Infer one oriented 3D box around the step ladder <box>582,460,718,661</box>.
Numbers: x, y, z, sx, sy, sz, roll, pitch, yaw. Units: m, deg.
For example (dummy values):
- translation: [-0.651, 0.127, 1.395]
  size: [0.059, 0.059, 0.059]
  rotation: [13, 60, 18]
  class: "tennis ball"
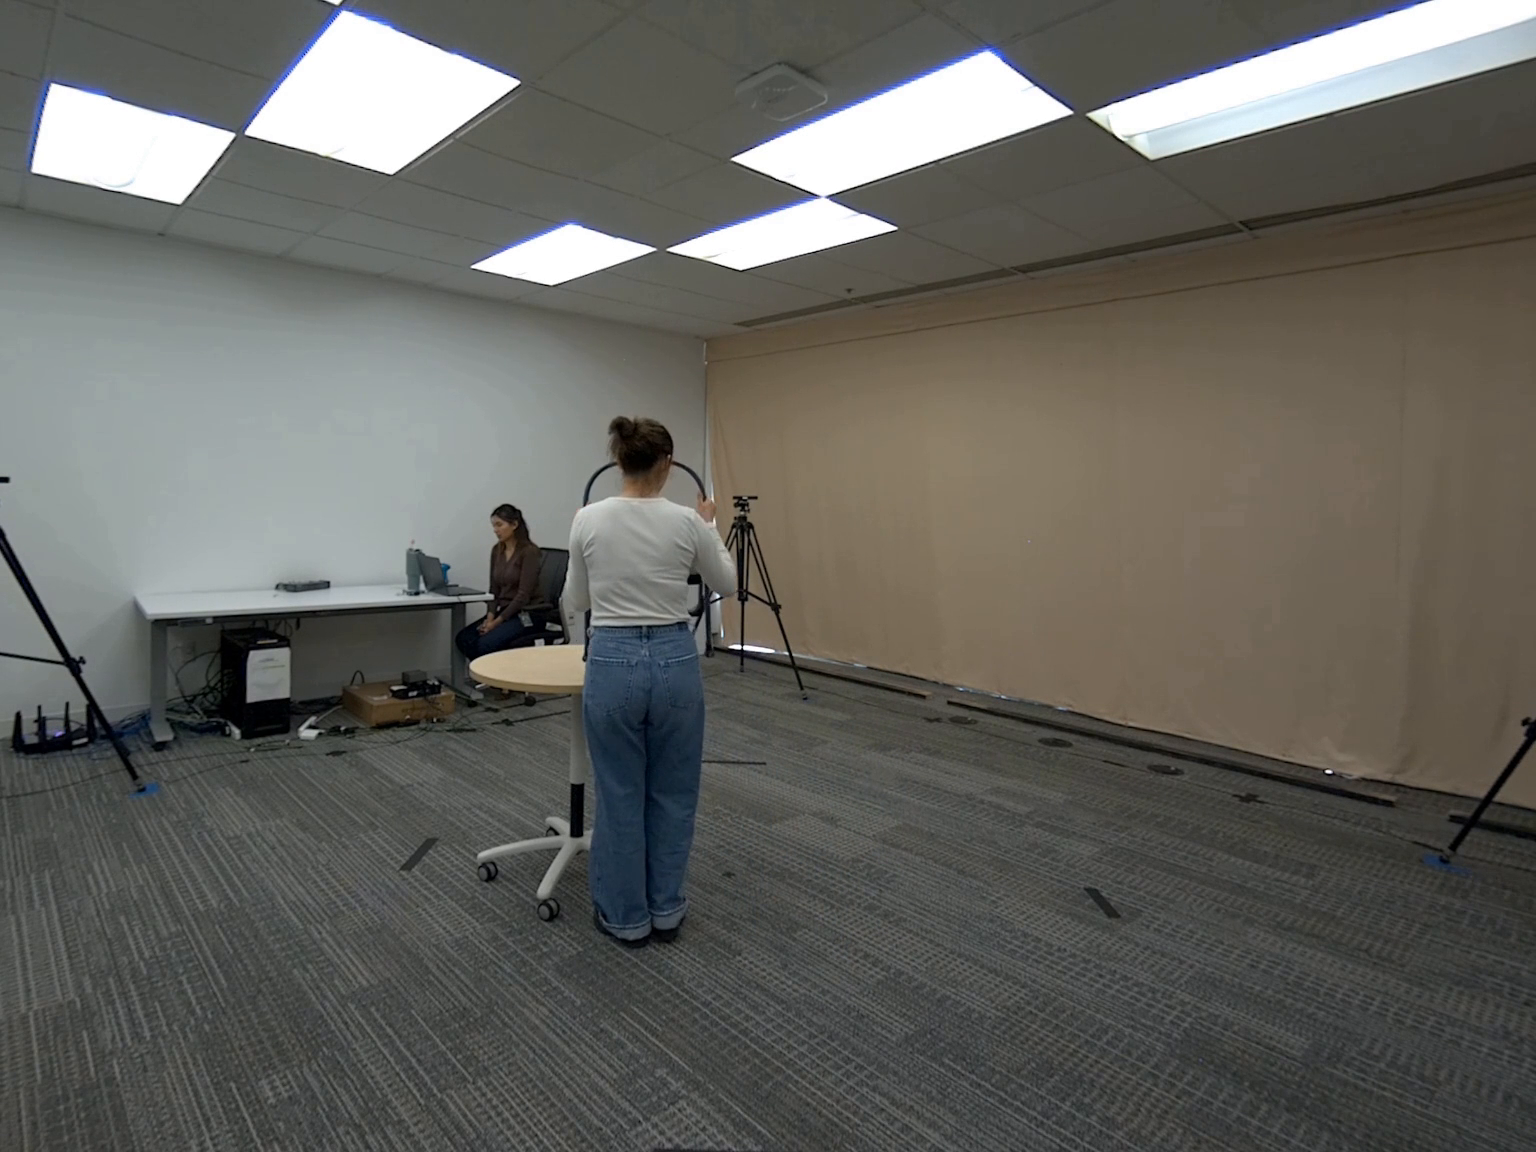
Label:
- translation: [-0.404, -0.073, 2.789]
  size: [0.428, 0.598, 0.356]
  rotation: [-2, 19, -9]
  class: "step ladder"
